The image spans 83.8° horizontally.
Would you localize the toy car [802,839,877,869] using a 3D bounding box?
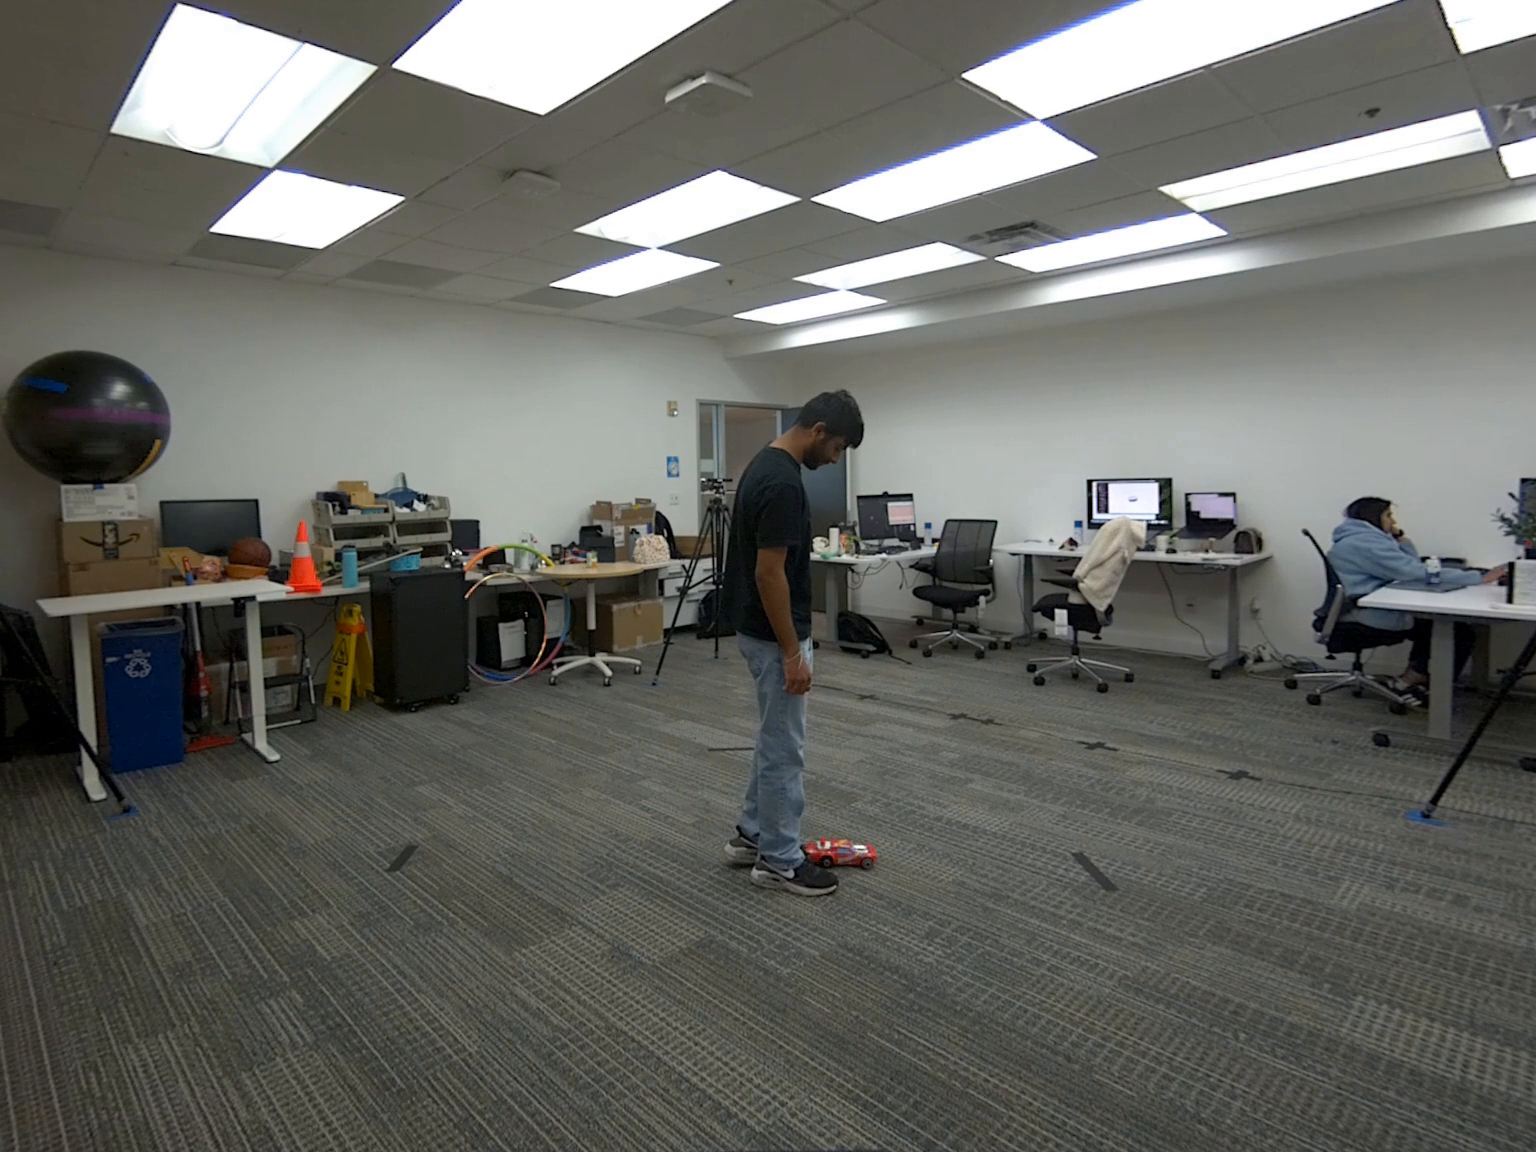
[{"bbox_3d":[0.259,1.000,3.097,0.255,0.083,0.130,11,5,3],"label":"toy car"}]
